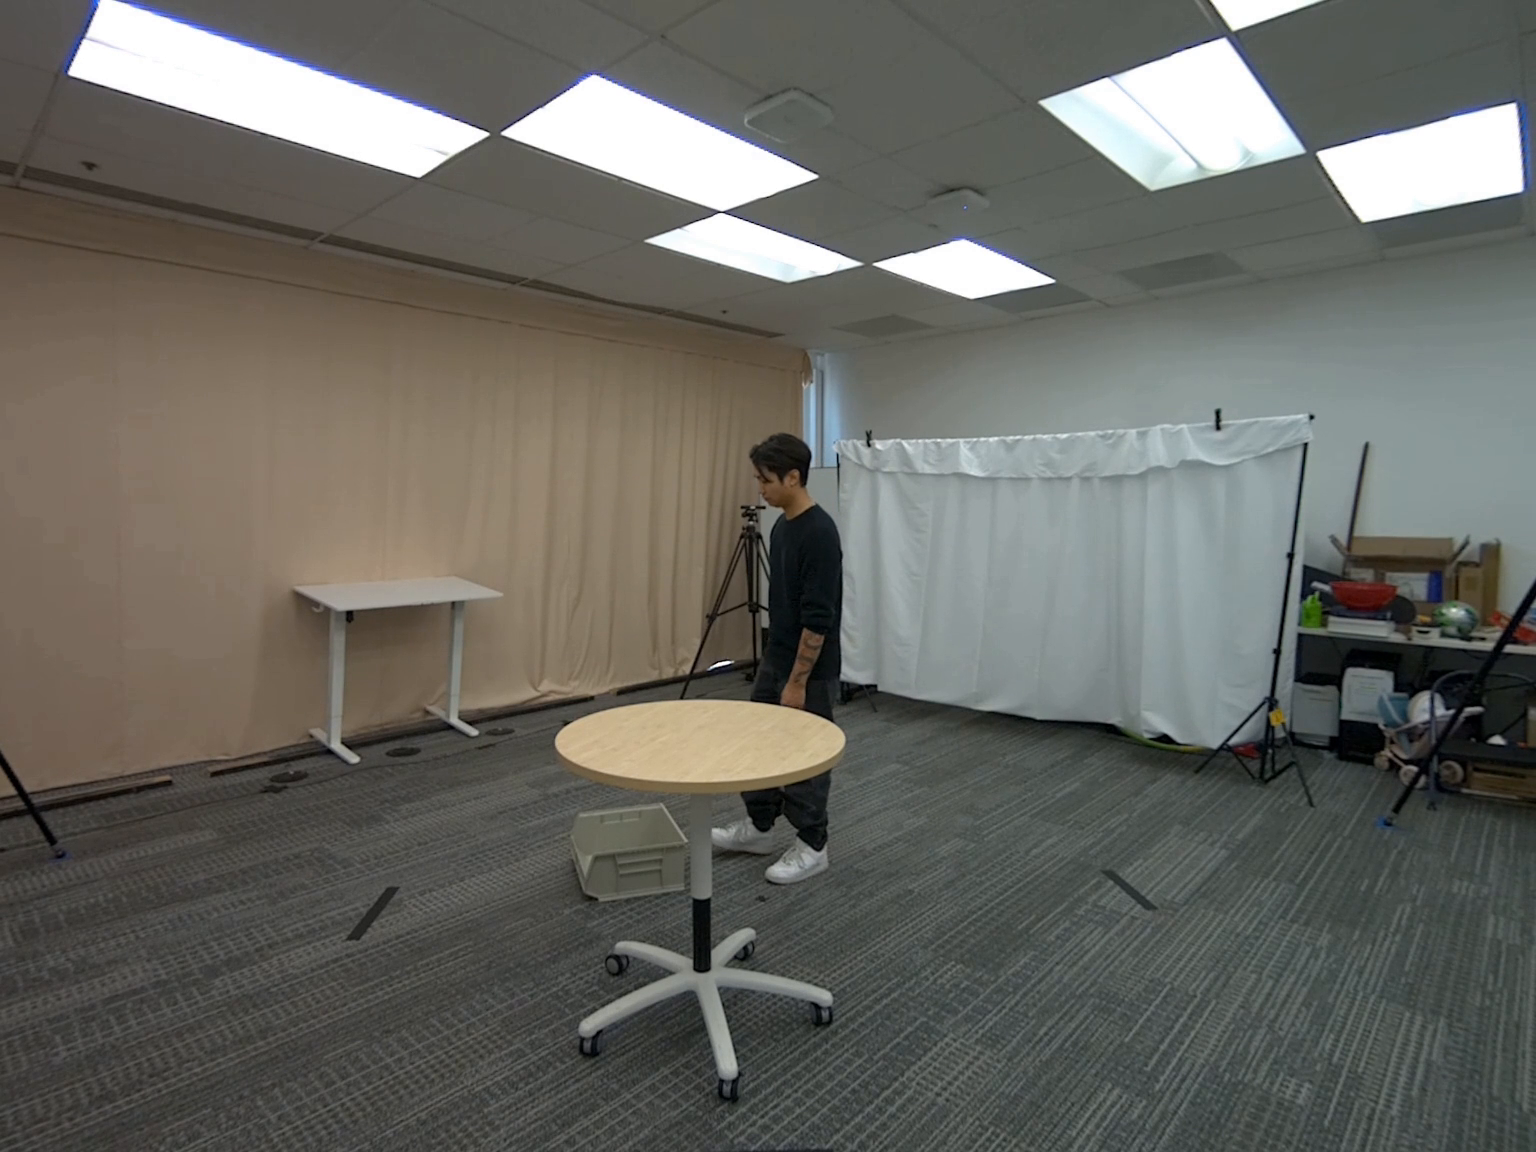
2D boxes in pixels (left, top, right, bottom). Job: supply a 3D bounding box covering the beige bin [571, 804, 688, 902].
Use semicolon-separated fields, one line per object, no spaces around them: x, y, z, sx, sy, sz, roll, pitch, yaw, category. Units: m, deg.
-0.538;1.041;3.198;0.371;0.188;0.431;-1;4;-18;beige bin
